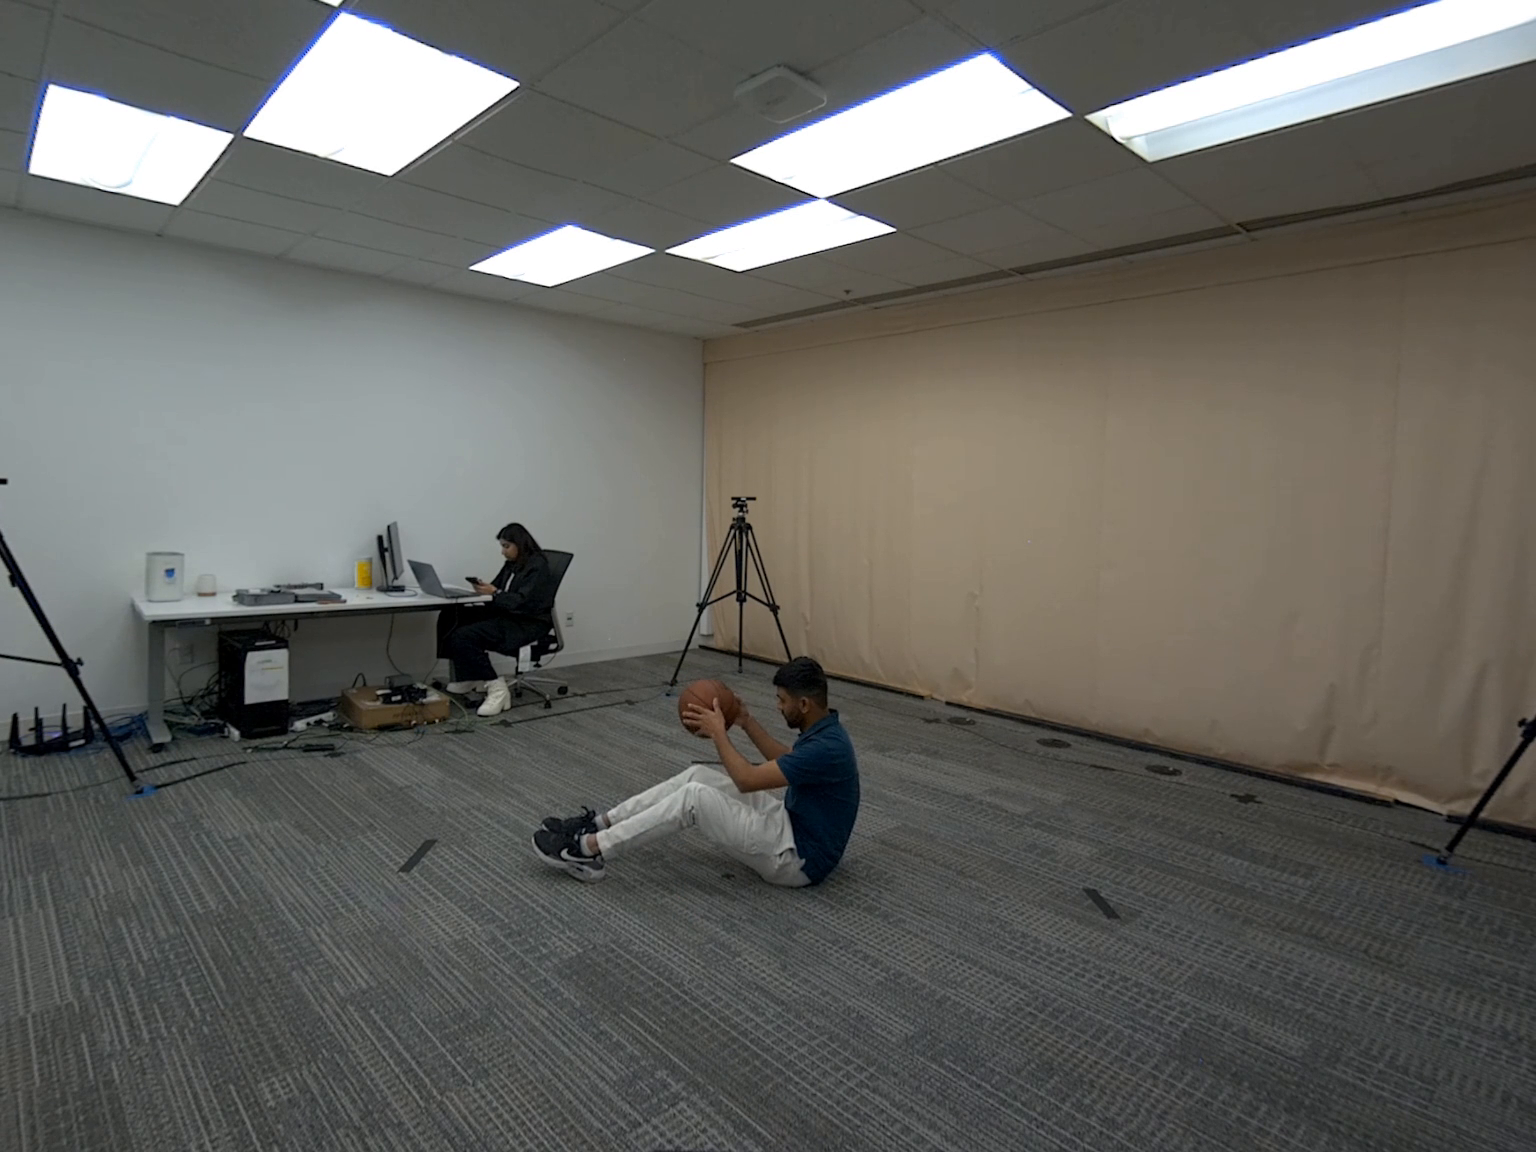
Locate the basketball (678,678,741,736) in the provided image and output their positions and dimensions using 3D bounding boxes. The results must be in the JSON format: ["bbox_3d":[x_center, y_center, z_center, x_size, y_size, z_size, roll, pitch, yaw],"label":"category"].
[{"bbox_3d":[-0.253,0.552,3.394,0.236,0.235,0.237,1,4,-1],"label":"basketball"}]
